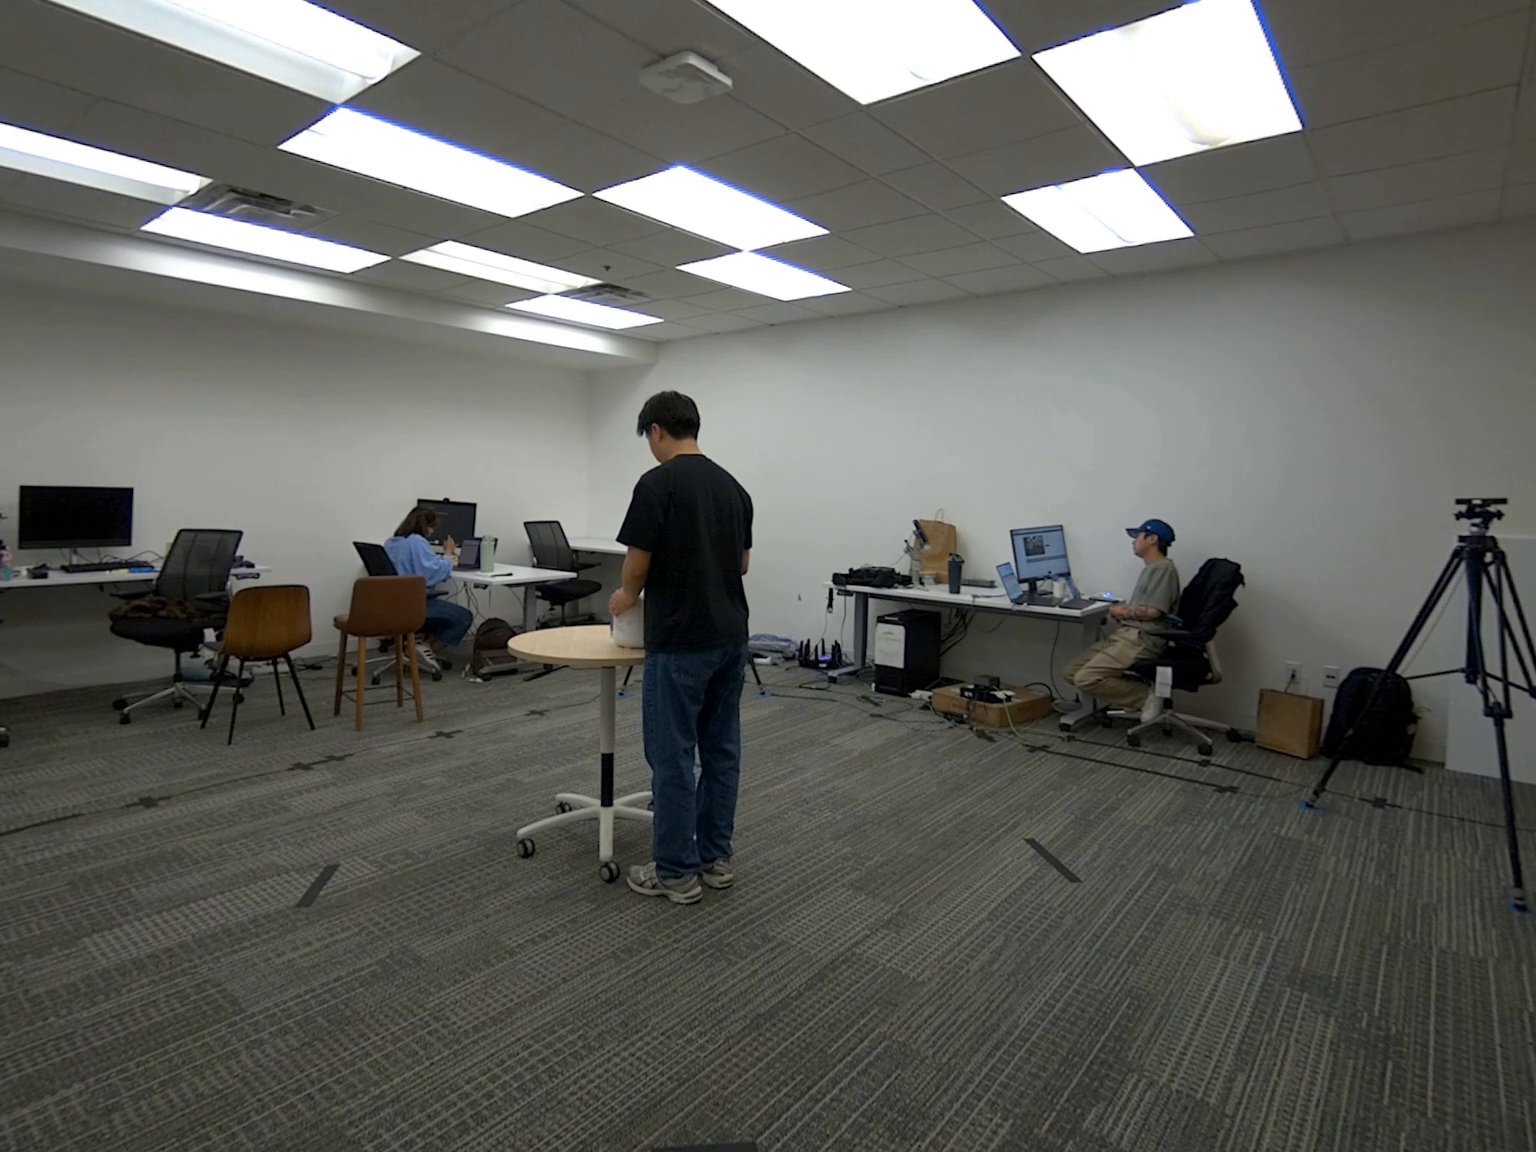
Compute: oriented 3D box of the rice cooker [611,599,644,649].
[{"bbox_3d":[-0.486,0.141,3.211,0.213,0.232,0.226,-2,6,-18],"label":"rice cooker"}]
